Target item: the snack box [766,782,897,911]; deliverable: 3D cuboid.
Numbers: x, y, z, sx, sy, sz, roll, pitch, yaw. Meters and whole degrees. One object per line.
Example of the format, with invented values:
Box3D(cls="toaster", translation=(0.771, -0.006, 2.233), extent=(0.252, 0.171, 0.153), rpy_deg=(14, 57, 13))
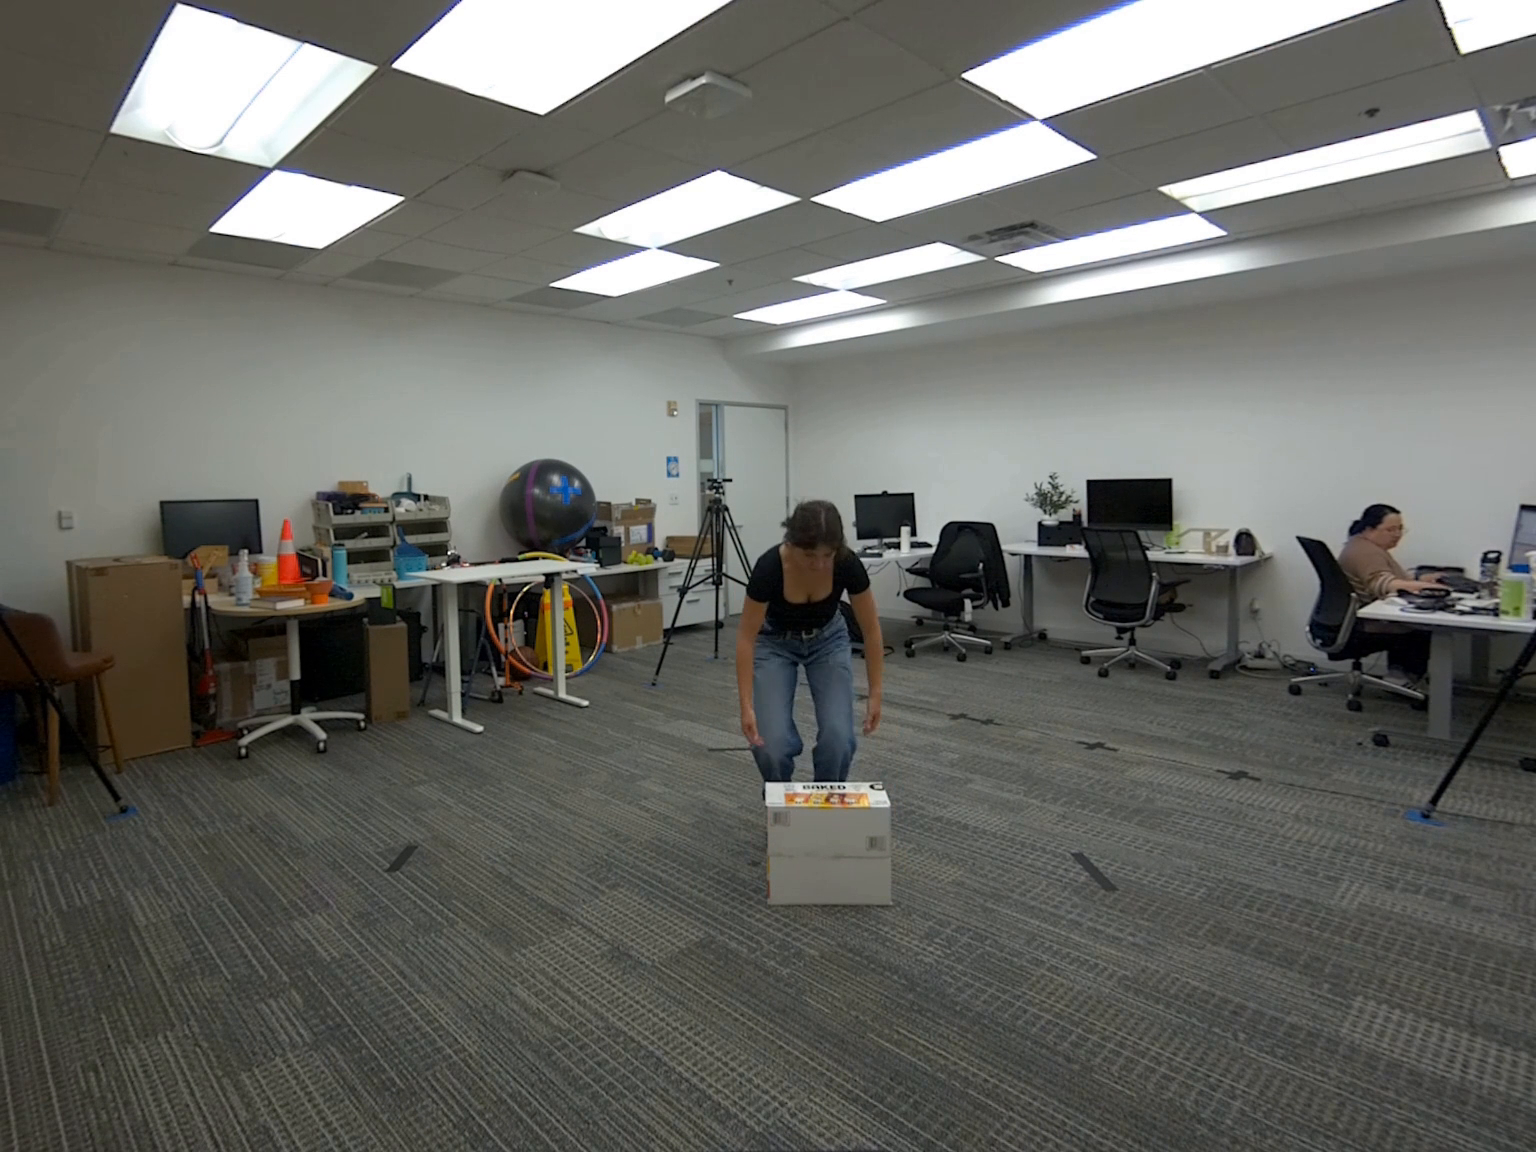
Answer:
Box3D(cls="snack box", translation=(0.204, 0.896, 2.866), extent=(0.405, 0.339, 0.206), rpy_deg=(-1, 4, 0))
